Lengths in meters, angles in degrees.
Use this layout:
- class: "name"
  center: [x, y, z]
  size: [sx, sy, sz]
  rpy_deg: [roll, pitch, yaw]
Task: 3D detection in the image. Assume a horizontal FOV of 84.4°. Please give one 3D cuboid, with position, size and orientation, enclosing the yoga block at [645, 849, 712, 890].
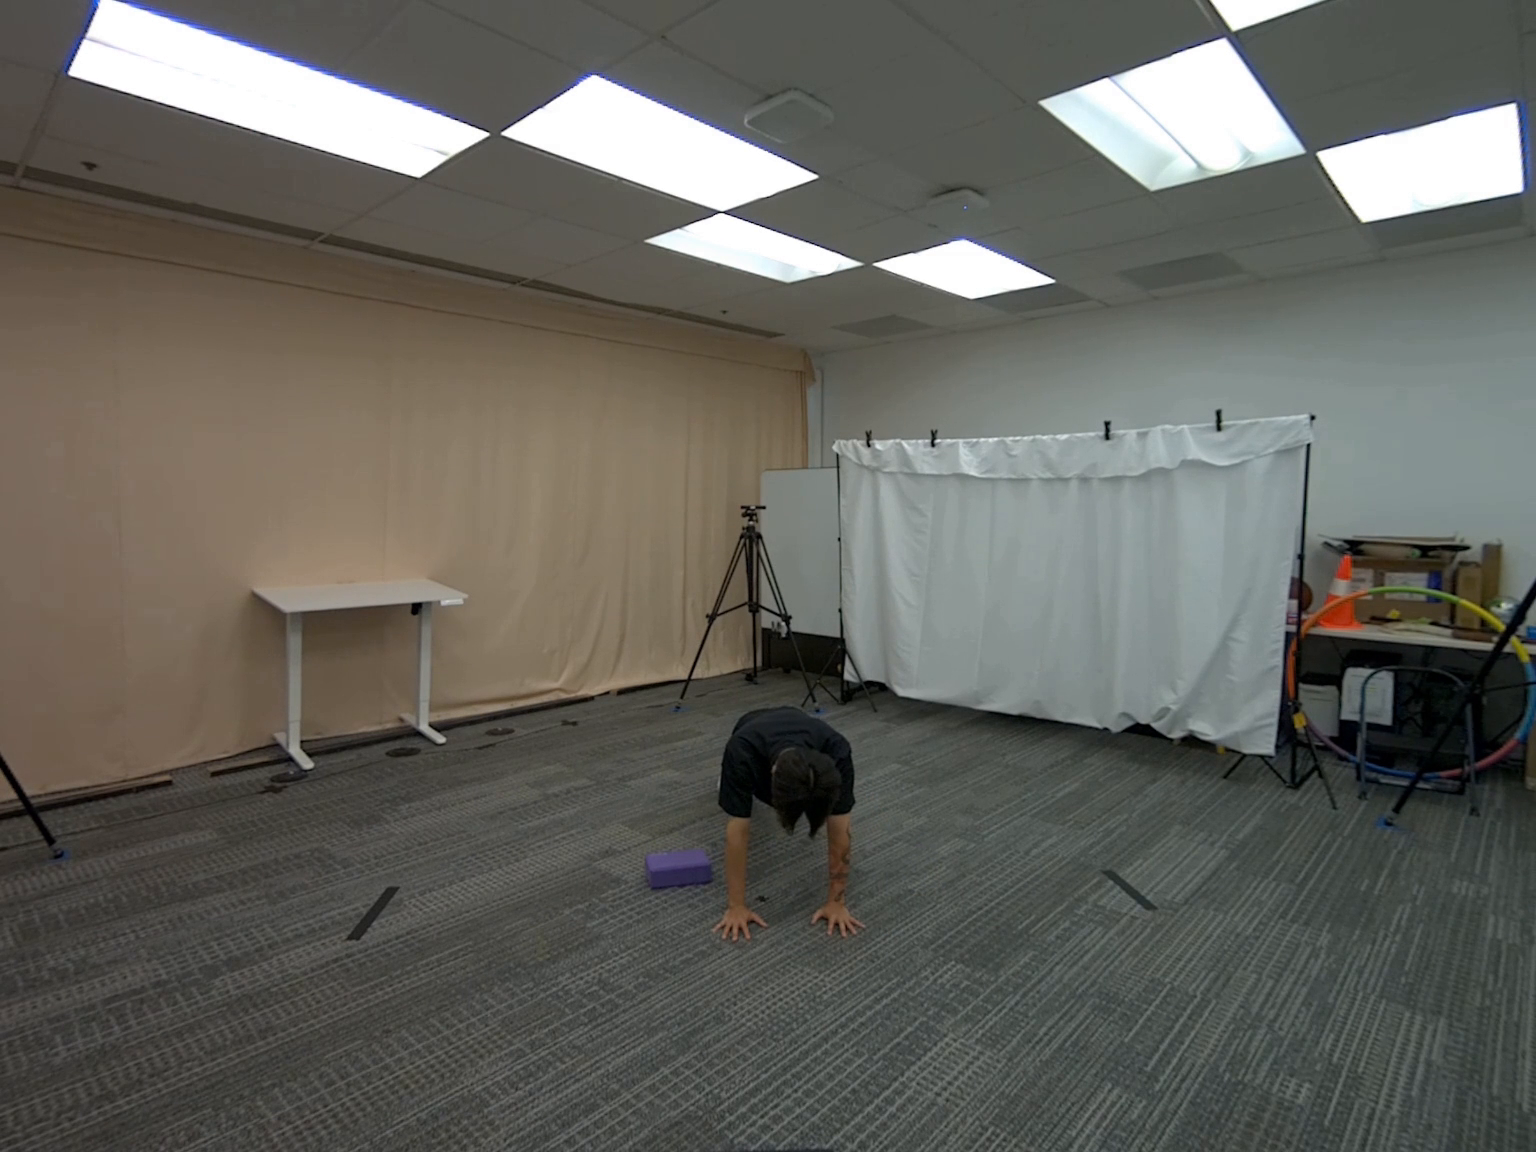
- class: "yoga block"
  center: [-0.336, 1.094, 3.147]
  size: [0.226, 0.076, 0.152]
  rpy_deg: [-2, 5, -15]
